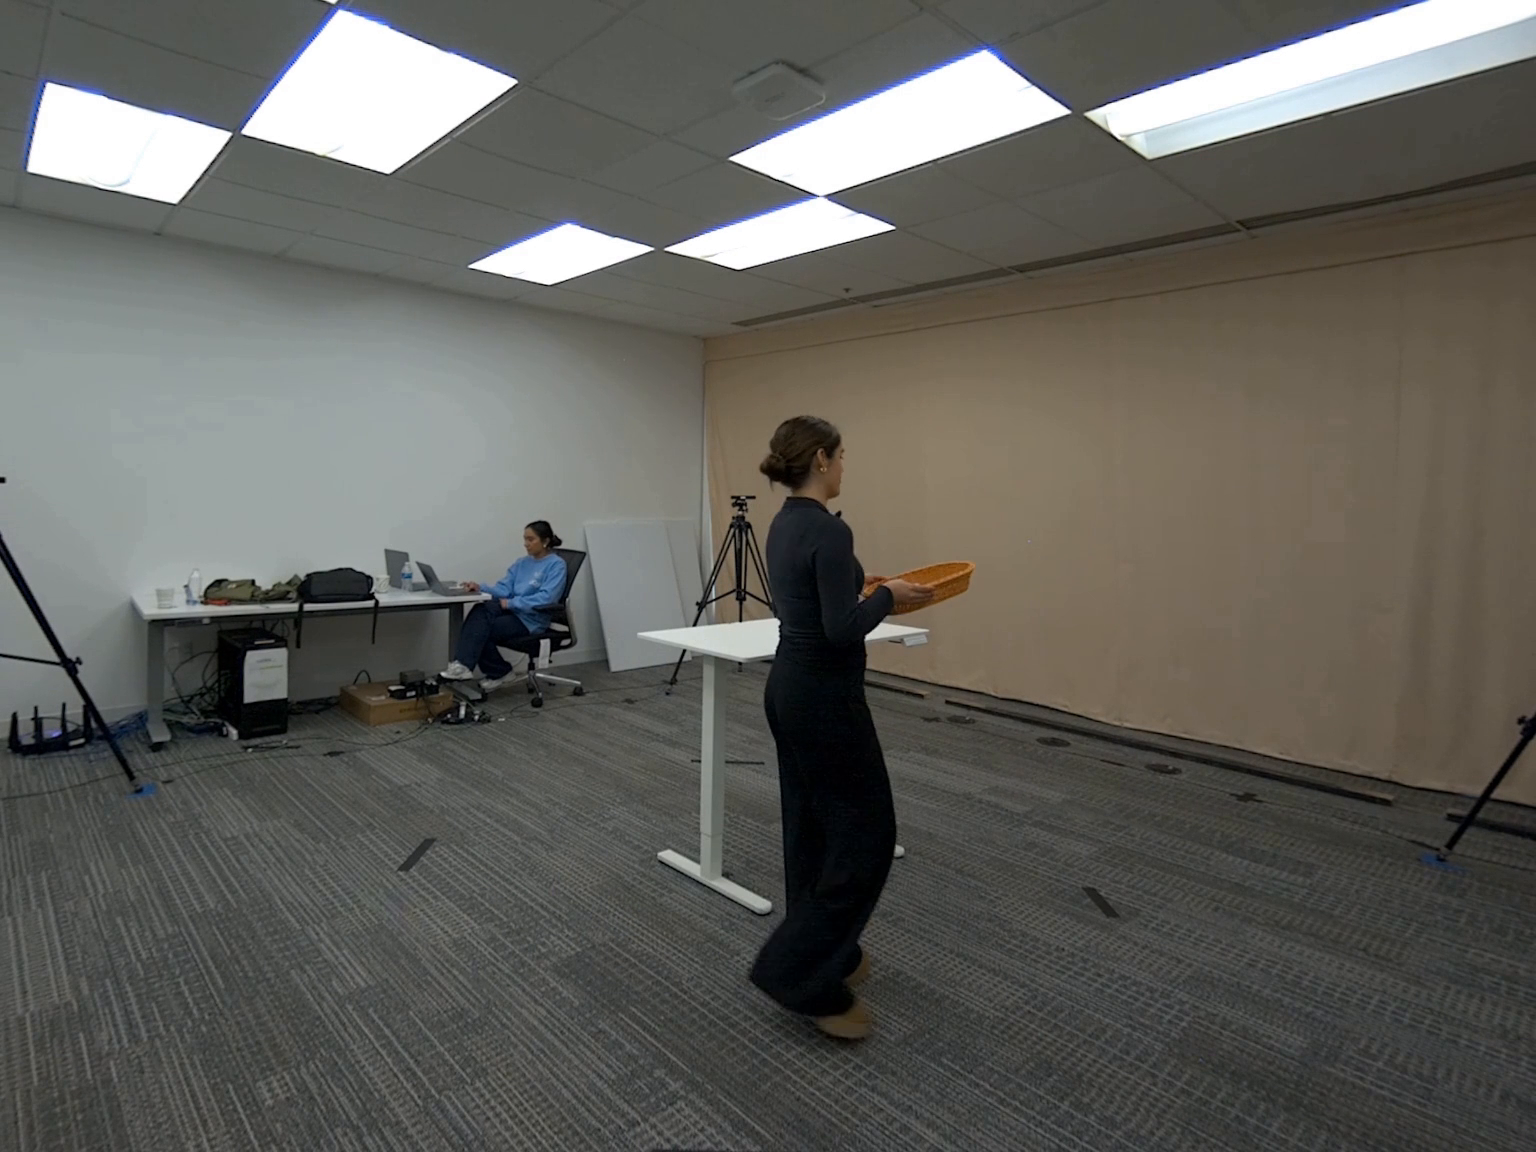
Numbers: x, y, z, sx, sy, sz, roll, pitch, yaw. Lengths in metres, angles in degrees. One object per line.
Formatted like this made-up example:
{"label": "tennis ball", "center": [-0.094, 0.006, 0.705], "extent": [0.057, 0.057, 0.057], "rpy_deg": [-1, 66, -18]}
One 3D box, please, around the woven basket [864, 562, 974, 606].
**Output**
{"label": "woven basket", "center": [0.419, 0.045, 2.423], "extent": [0.348, 0.073, 0.255], "rpy_deg": [-12, 5, -10]}
